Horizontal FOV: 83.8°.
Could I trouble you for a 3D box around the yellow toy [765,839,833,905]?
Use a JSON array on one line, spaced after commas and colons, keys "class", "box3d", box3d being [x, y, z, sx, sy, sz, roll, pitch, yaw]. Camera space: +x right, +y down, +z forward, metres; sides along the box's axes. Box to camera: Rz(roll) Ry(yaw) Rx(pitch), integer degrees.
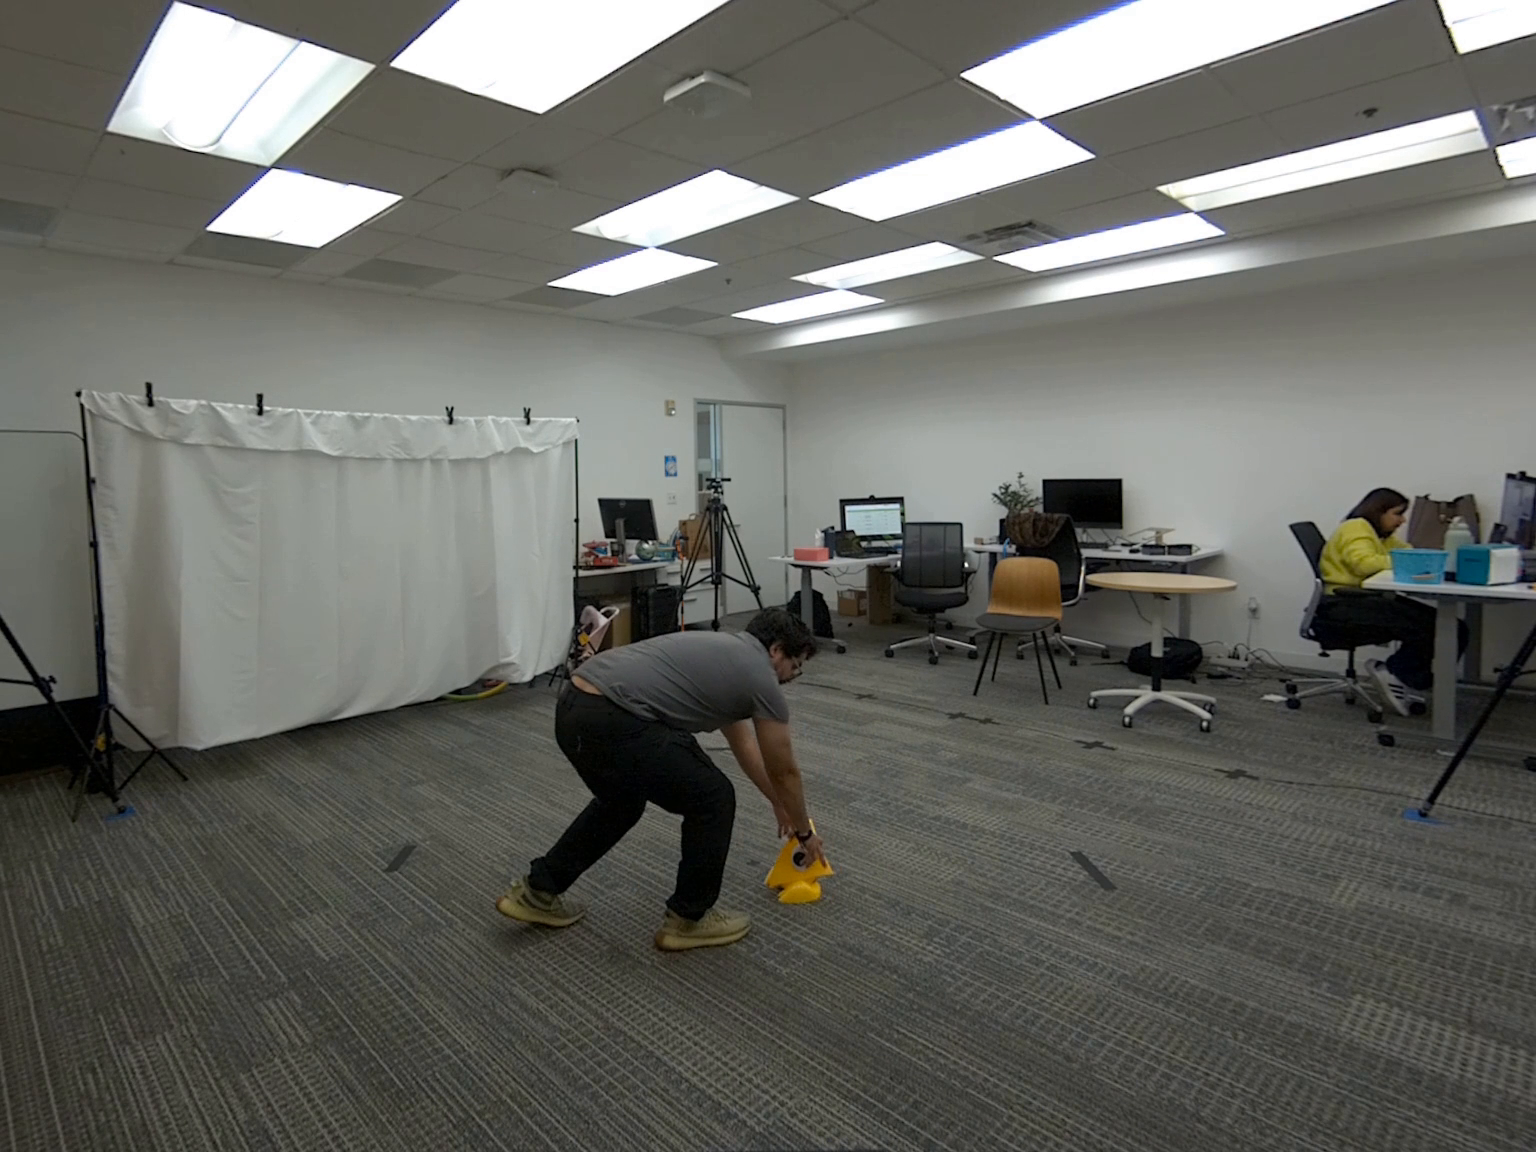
[{"class": "yellow toy", "box3d": [0.096, 0.952, 2.901, 0.189, 0.230, 0.209, -3, 6, -21]}]
